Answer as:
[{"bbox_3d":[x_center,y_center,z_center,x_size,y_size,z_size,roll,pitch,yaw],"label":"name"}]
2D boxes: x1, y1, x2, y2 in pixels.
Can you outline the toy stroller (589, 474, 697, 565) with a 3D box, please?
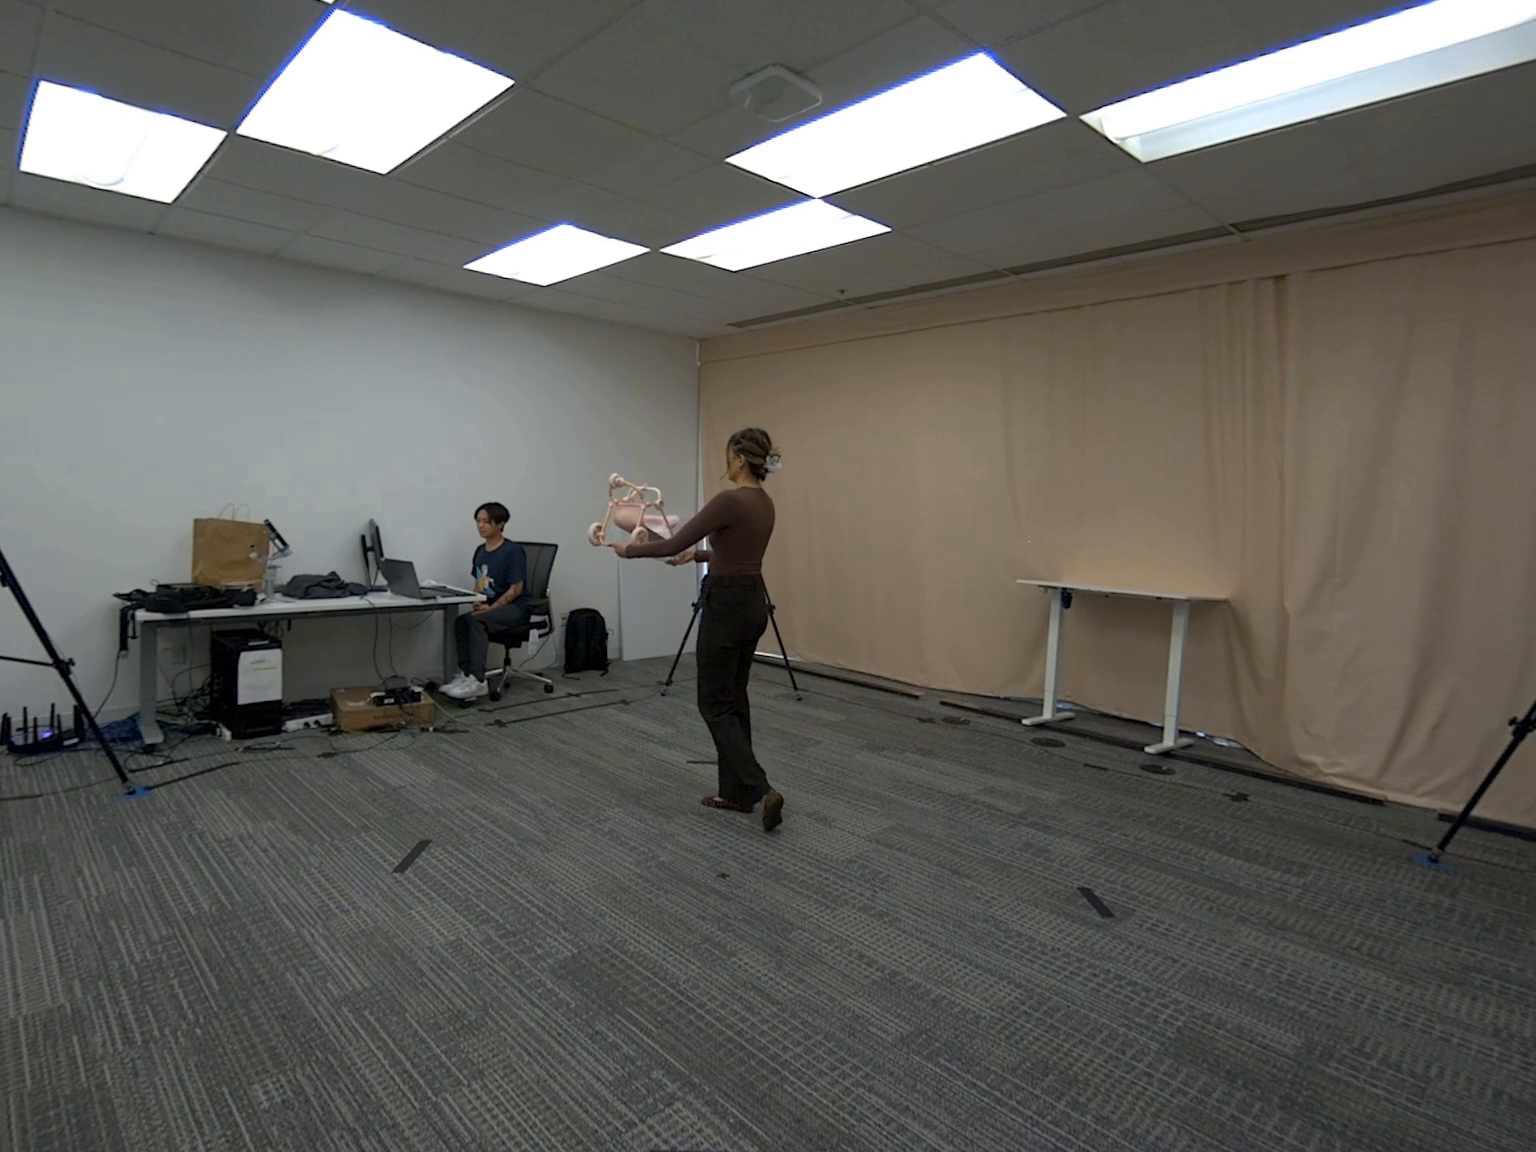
[{"bbox_3d":[-0.603,-0.265,3.972,0.287,0.343,0.521,1,-8,30],"label":"toy stroller"}]
